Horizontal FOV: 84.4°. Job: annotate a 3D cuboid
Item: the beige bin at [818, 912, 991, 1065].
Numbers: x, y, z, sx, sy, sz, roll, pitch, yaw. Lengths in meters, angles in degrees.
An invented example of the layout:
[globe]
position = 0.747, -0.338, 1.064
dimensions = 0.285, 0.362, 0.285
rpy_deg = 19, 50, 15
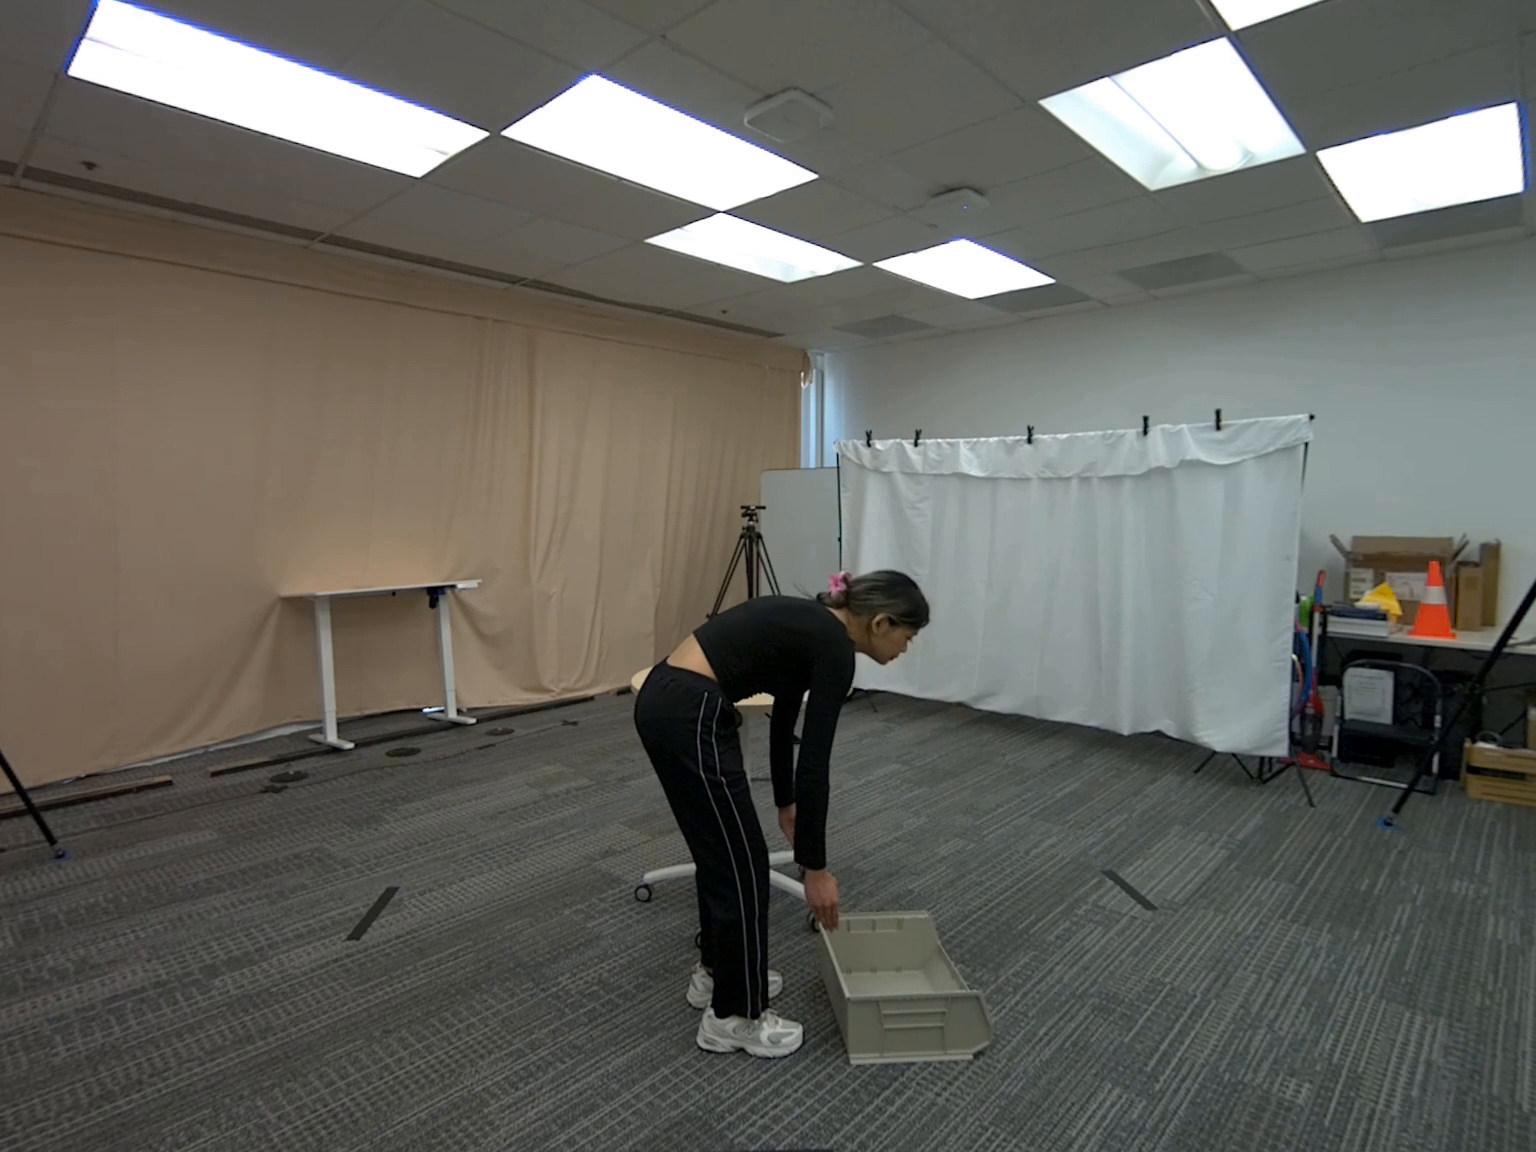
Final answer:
[beige bin]
position = 0.365, 1.117, 2.301
dimensions = 0.375, 0.188, 0.426
rpy_deg = -1, 5, -6
